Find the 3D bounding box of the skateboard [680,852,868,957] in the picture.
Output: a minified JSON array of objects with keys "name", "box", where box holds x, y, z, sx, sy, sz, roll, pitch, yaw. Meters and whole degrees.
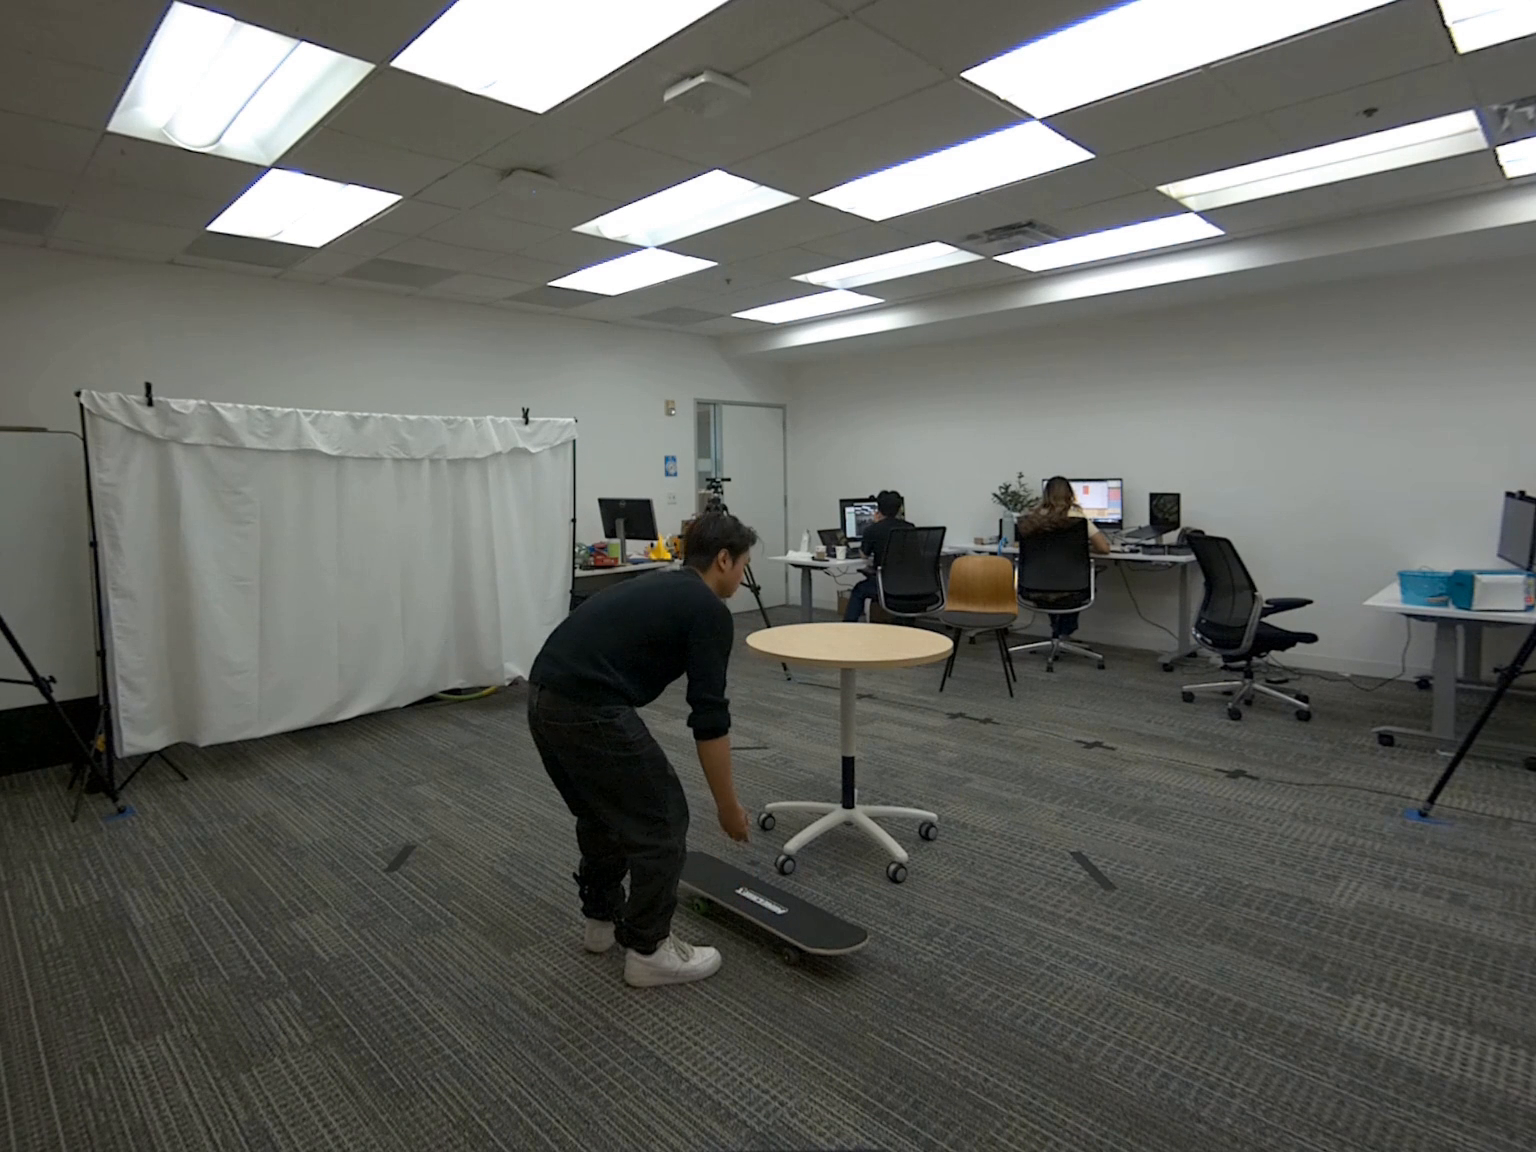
[{"name":"skateboard","box":[-0.018,1.046,2.643,0.188,0.110,0.810,-7,8,-43]}]
